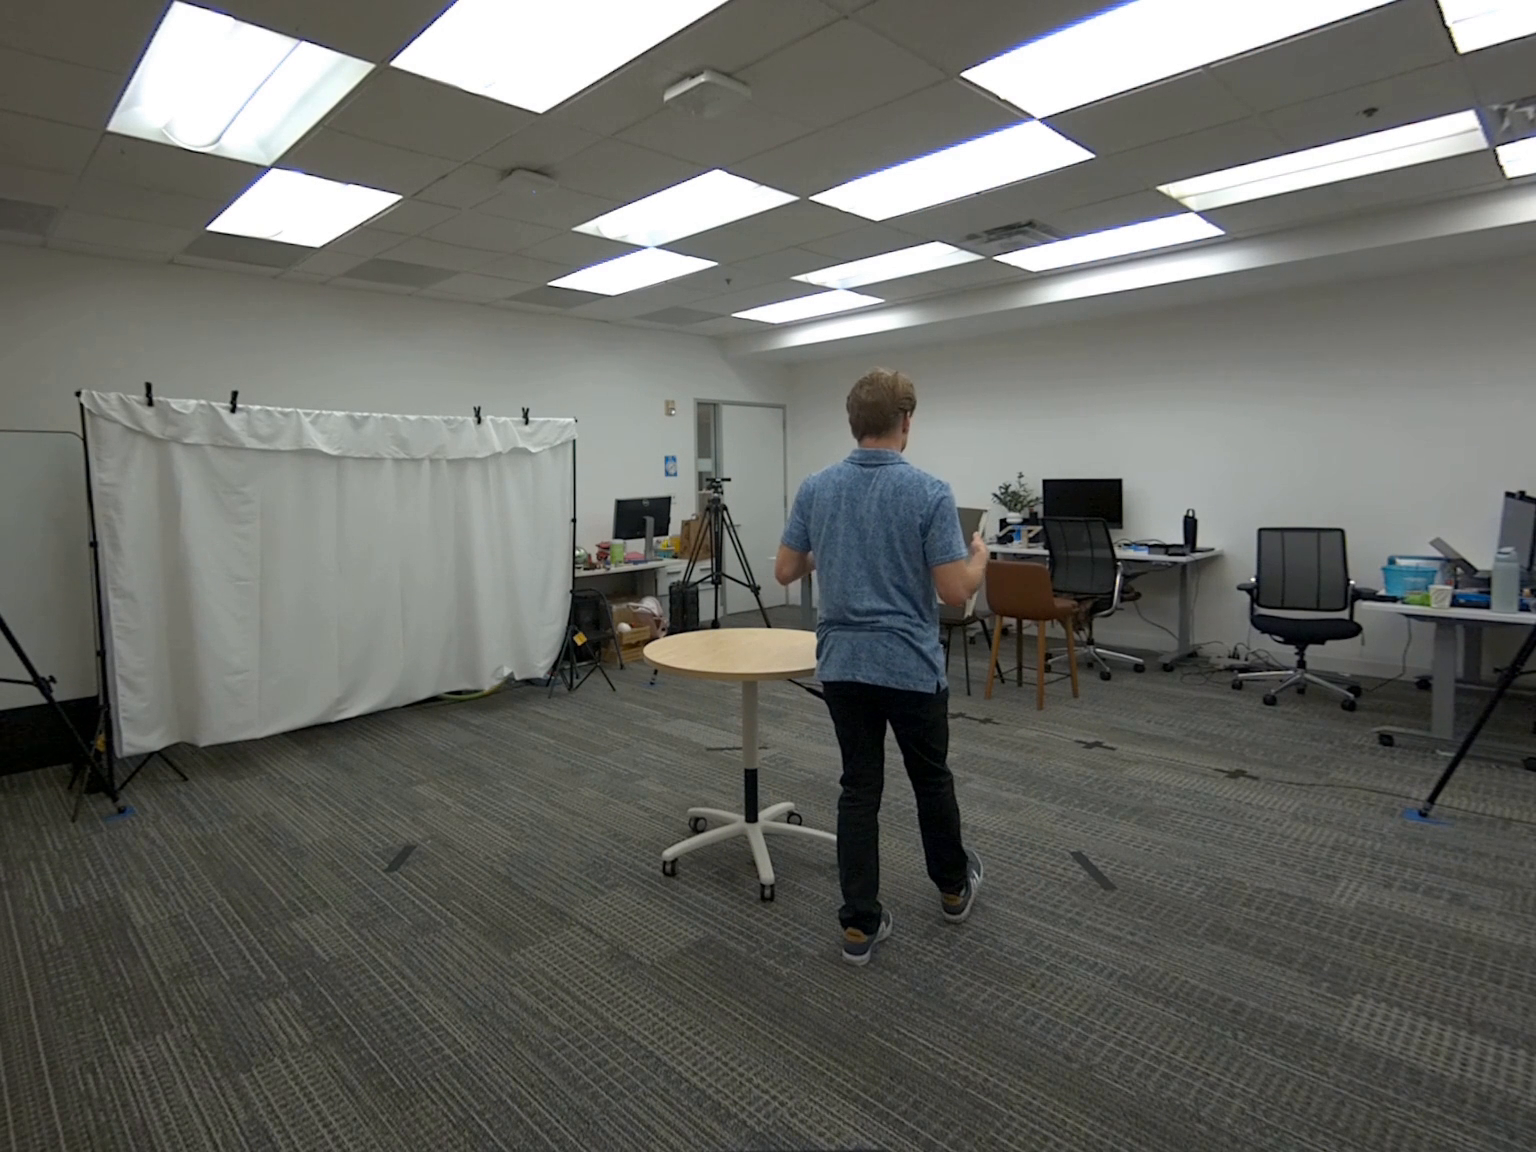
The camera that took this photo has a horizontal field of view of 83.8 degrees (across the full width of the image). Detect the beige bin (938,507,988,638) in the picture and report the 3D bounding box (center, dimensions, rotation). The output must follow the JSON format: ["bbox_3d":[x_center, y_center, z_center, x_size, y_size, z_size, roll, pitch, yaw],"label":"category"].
[{"bbox_3d":[0.485,-0.052,2.789,0.433,0.183,0.380,6,42,26],"label":"beige bin"}]
